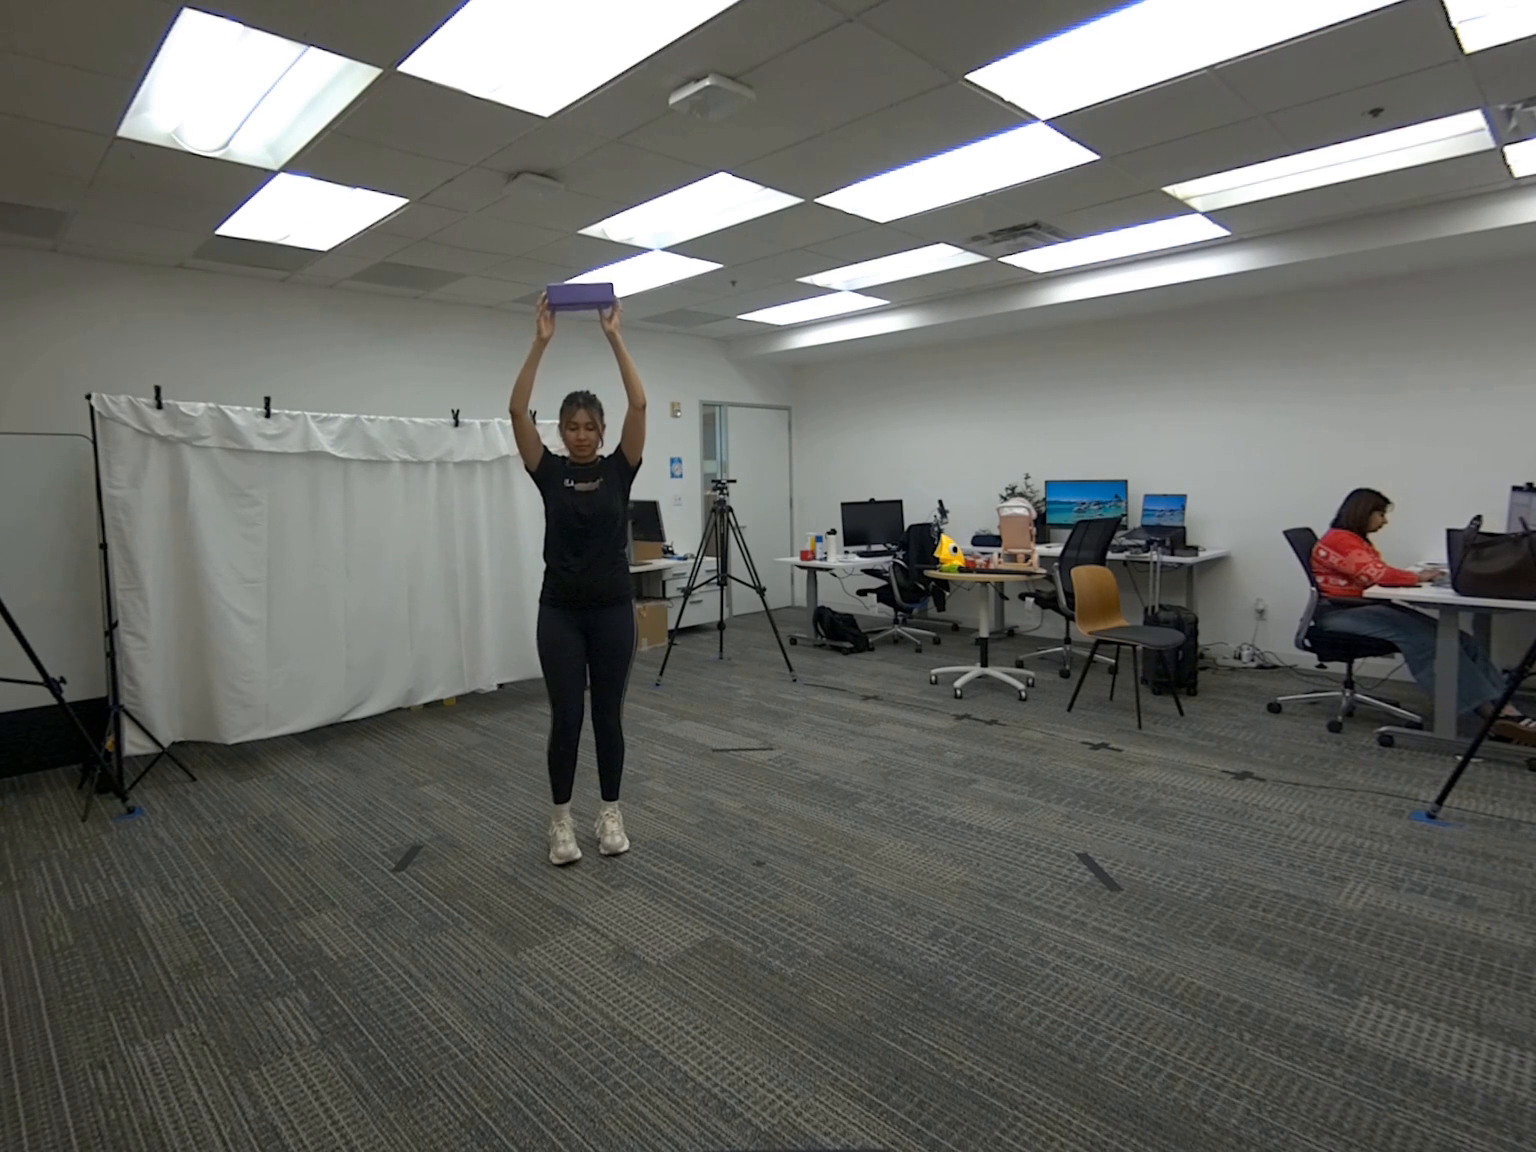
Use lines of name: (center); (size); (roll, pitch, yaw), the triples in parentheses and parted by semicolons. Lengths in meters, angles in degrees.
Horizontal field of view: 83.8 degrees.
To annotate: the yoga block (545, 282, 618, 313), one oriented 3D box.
yoga block: (-0.658, -0.978, 2.976); (0.227, 0.075, 0.152); (-8, 14, -12)
